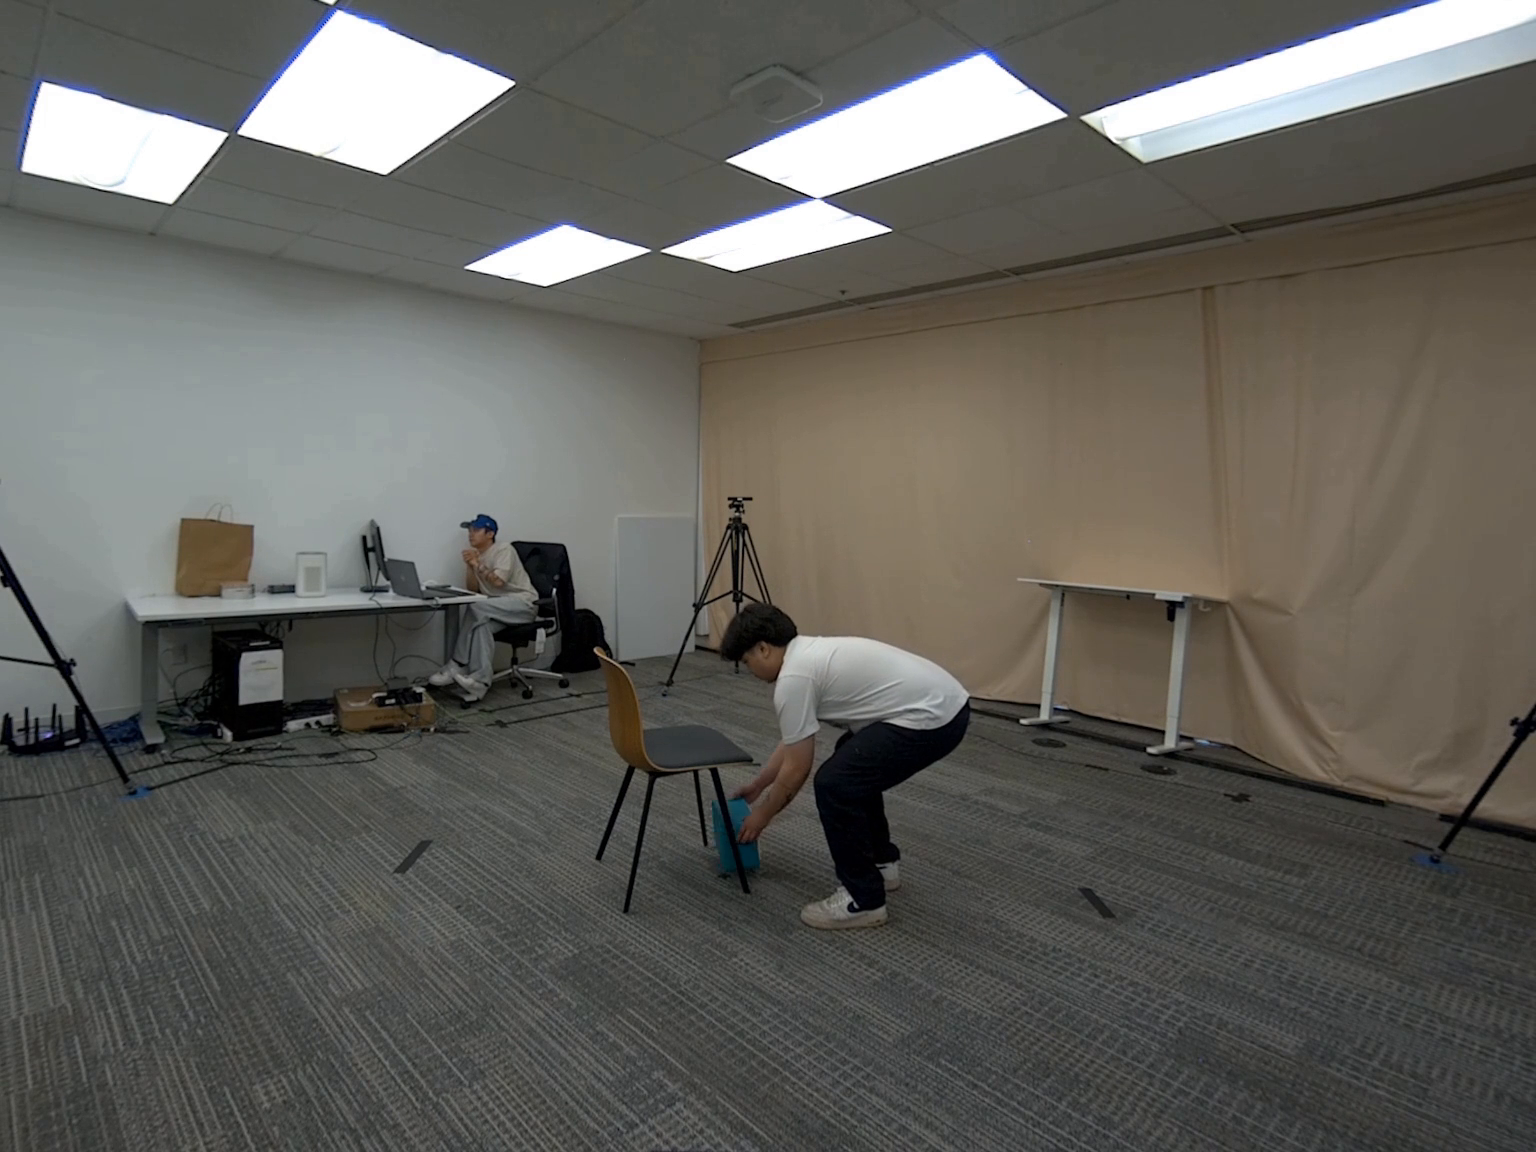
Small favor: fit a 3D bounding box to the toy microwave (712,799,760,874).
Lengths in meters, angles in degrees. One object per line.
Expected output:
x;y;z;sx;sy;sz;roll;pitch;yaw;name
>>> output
-0.117;0.964;3.164;0.151;0.183;0.289;-4;7;-10;toy microwave
